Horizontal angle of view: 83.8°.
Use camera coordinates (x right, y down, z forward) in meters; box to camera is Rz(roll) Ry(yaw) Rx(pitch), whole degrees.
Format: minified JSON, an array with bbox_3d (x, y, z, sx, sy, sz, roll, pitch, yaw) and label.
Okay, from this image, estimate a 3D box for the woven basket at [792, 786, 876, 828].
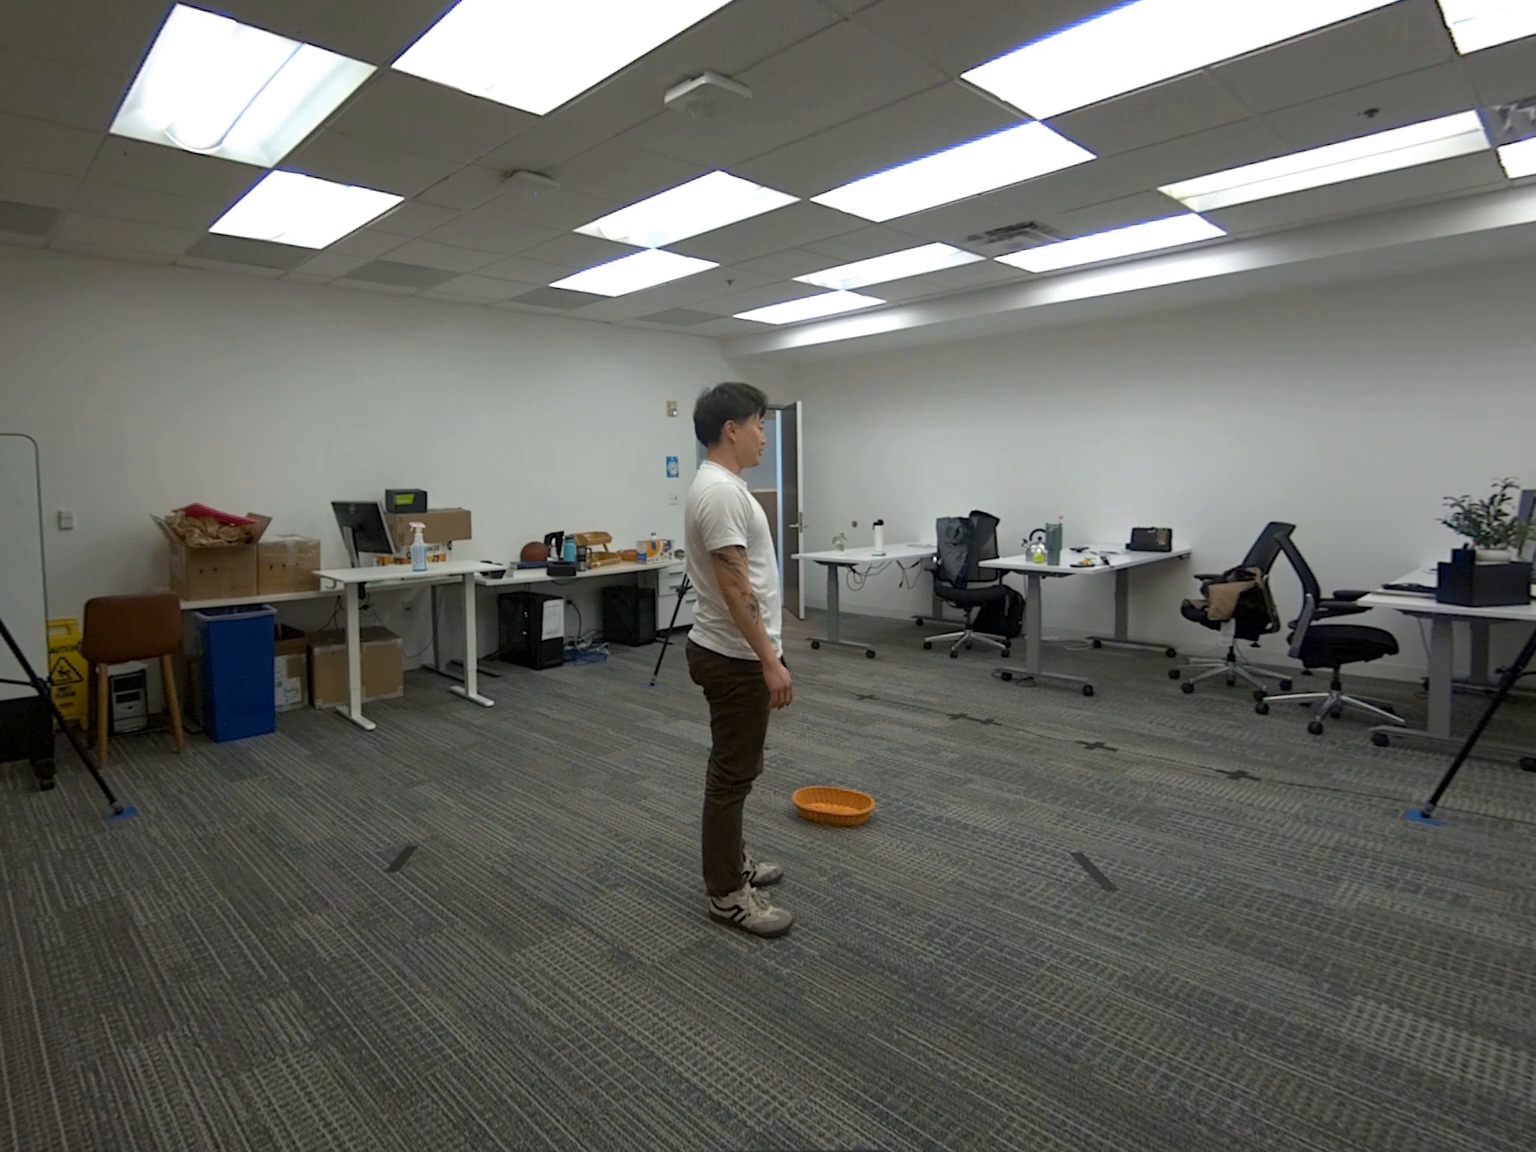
[{"bbox_3d":[0.265,0.953,3.522,0.359,0.073,0.248,2,9,26],"label":"woven basket"}]
